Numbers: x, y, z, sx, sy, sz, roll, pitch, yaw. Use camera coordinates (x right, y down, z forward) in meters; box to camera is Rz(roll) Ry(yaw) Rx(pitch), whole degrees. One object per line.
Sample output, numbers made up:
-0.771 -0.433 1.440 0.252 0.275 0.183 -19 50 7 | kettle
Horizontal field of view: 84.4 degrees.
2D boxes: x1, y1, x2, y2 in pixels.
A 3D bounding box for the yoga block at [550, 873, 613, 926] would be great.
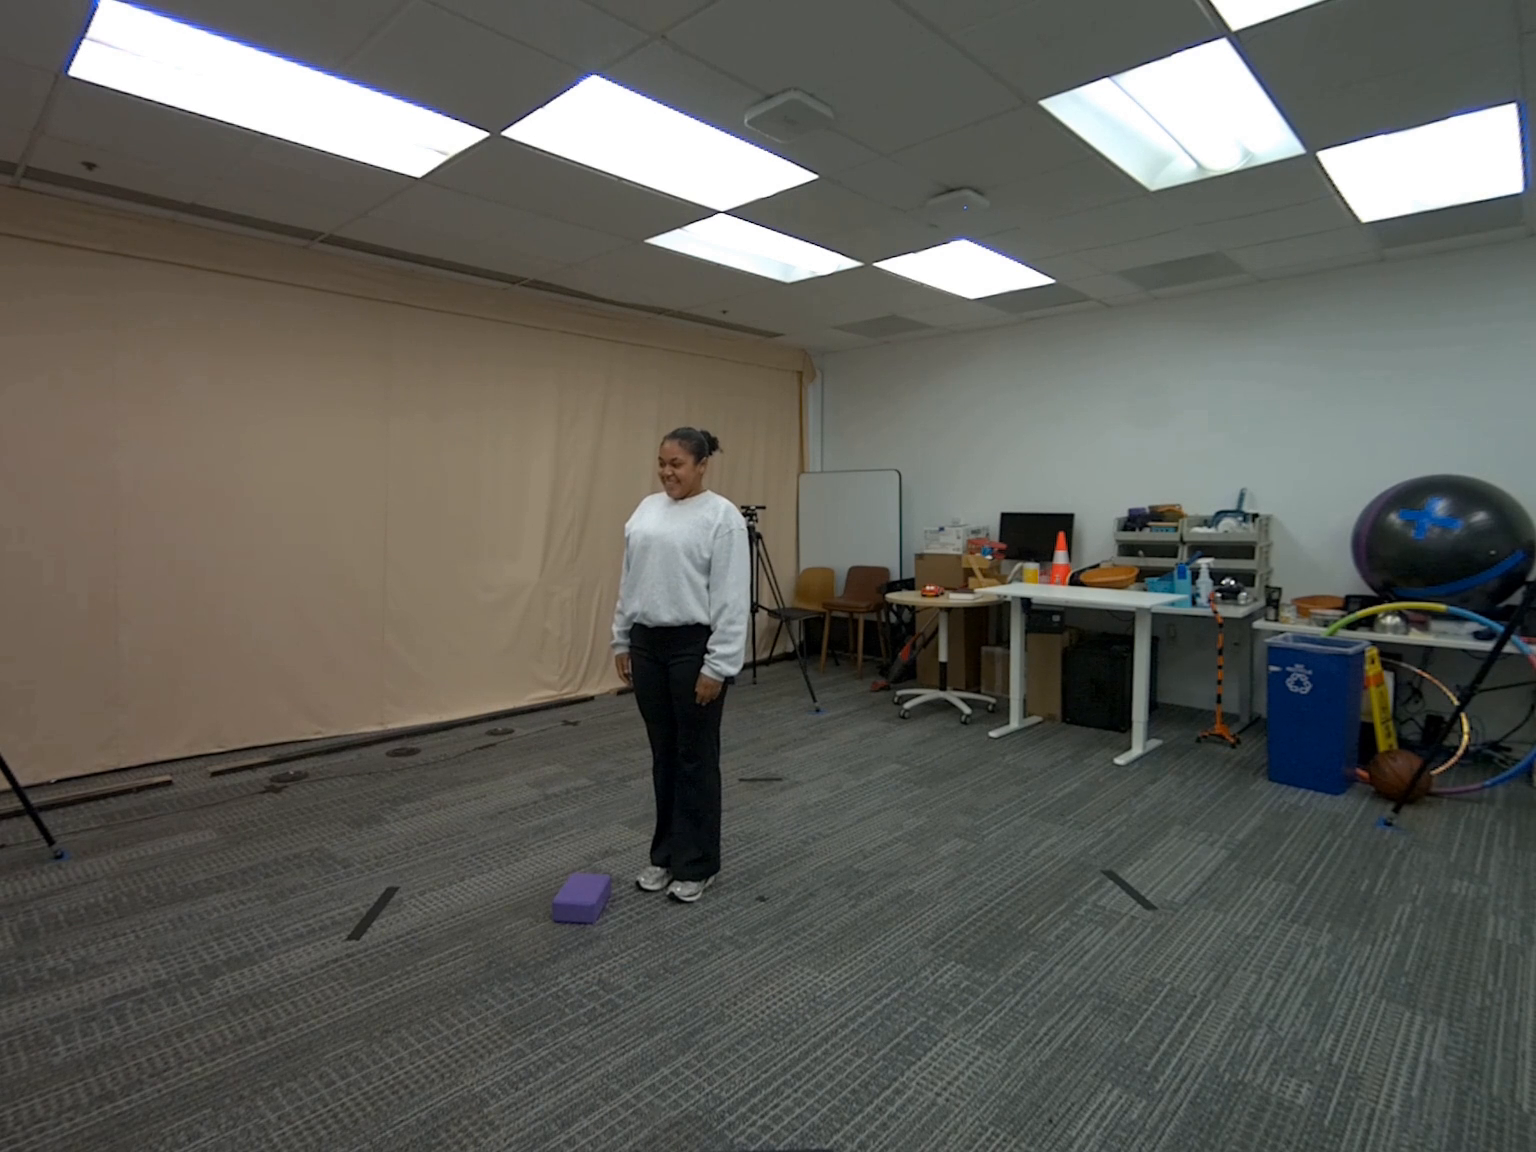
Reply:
-0.640 1.113 2.915 0.150 0.076 0.228 1 6 6 | yoga block
